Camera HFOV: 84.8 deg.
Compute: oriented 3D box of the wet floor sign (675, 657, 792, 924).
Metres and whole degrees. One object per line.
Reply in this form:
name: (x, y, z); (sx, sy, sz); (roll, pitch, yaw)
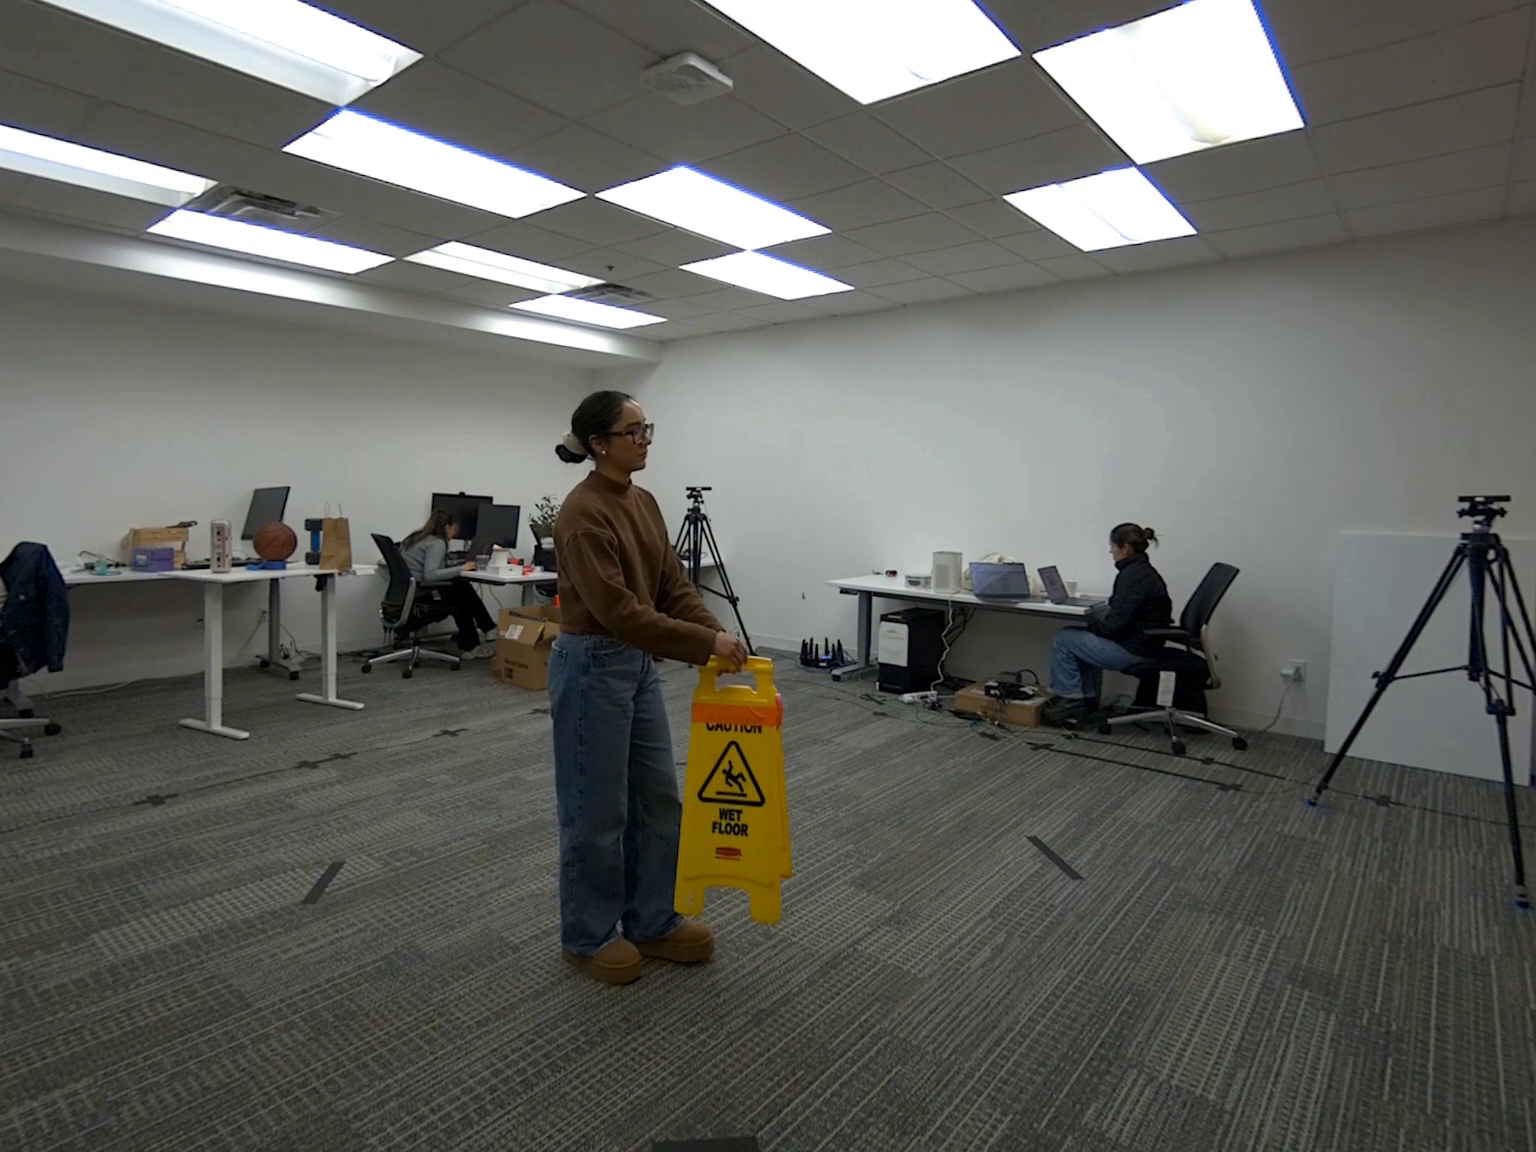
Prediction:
wet floor sign: (-0.091, 0.543, 2.290); (0.285, 0.646, 0.287); (0, 1, 8)
